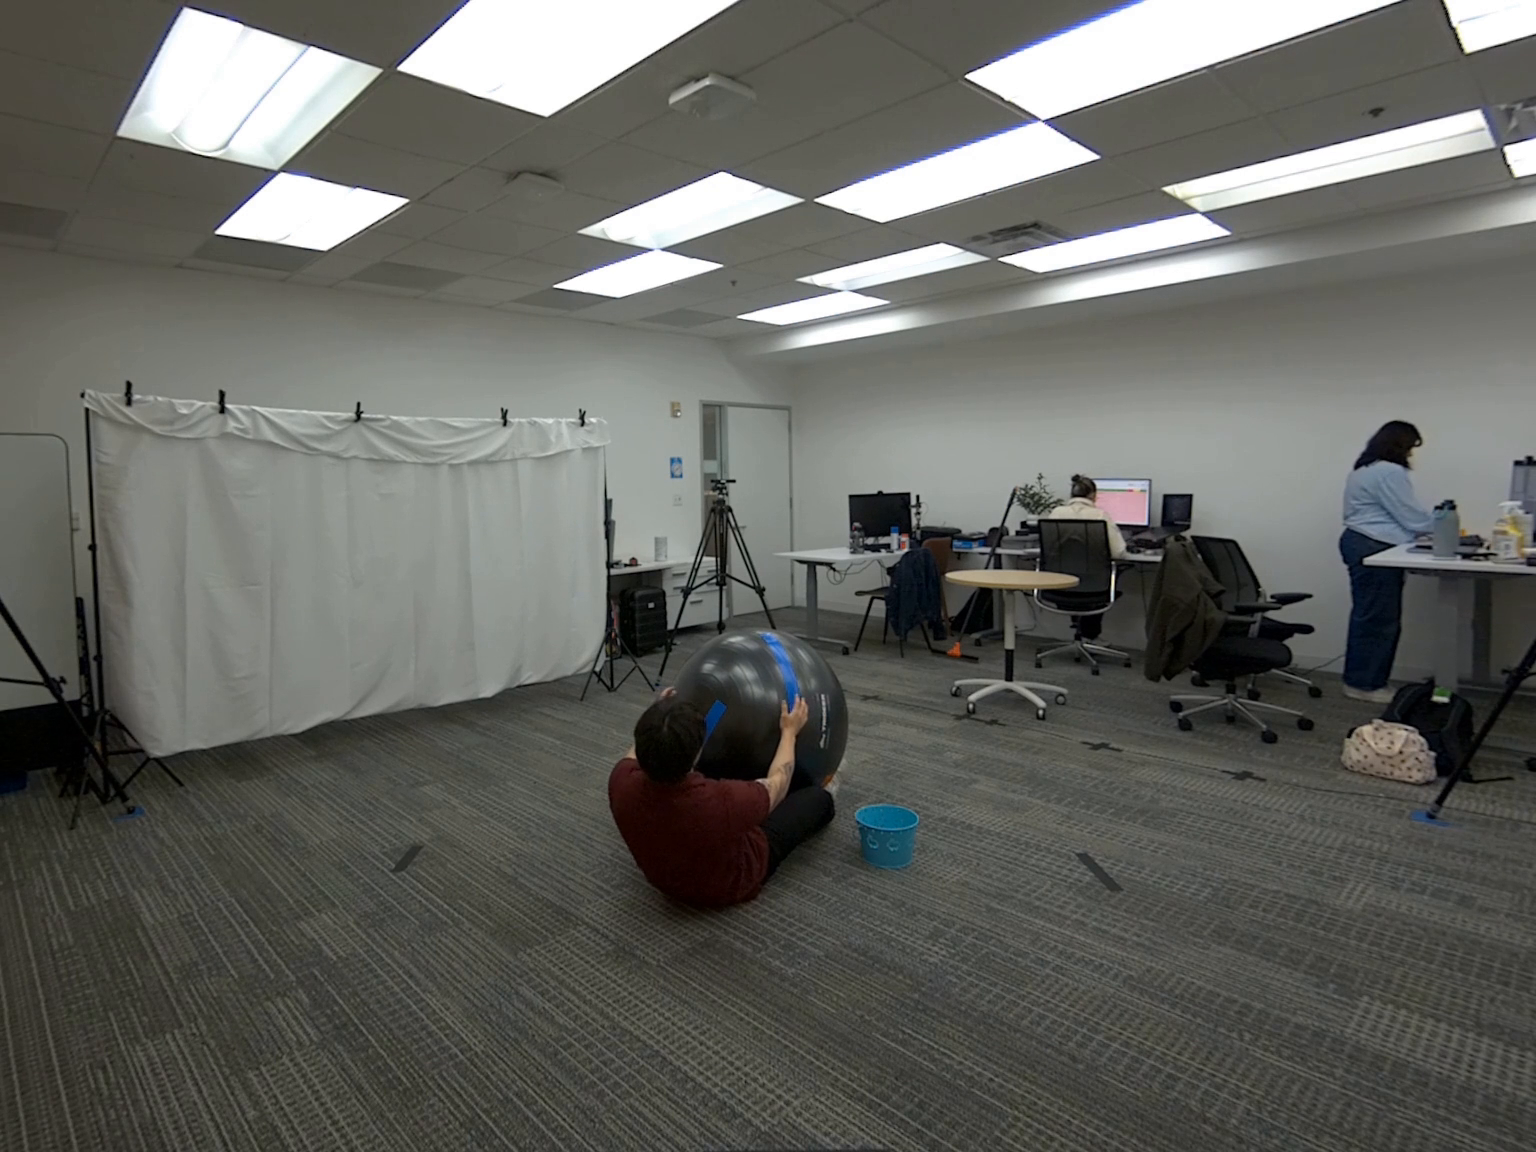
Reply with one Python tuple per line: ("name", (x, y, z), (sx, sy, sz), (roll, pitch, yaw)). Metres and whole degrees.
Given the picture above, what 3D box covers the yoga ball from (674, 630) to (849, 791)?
("yoga ball", (-0.055, 0.600, 3.537), (0.757, 0.755, 0.762), (-1, 5, -2))
